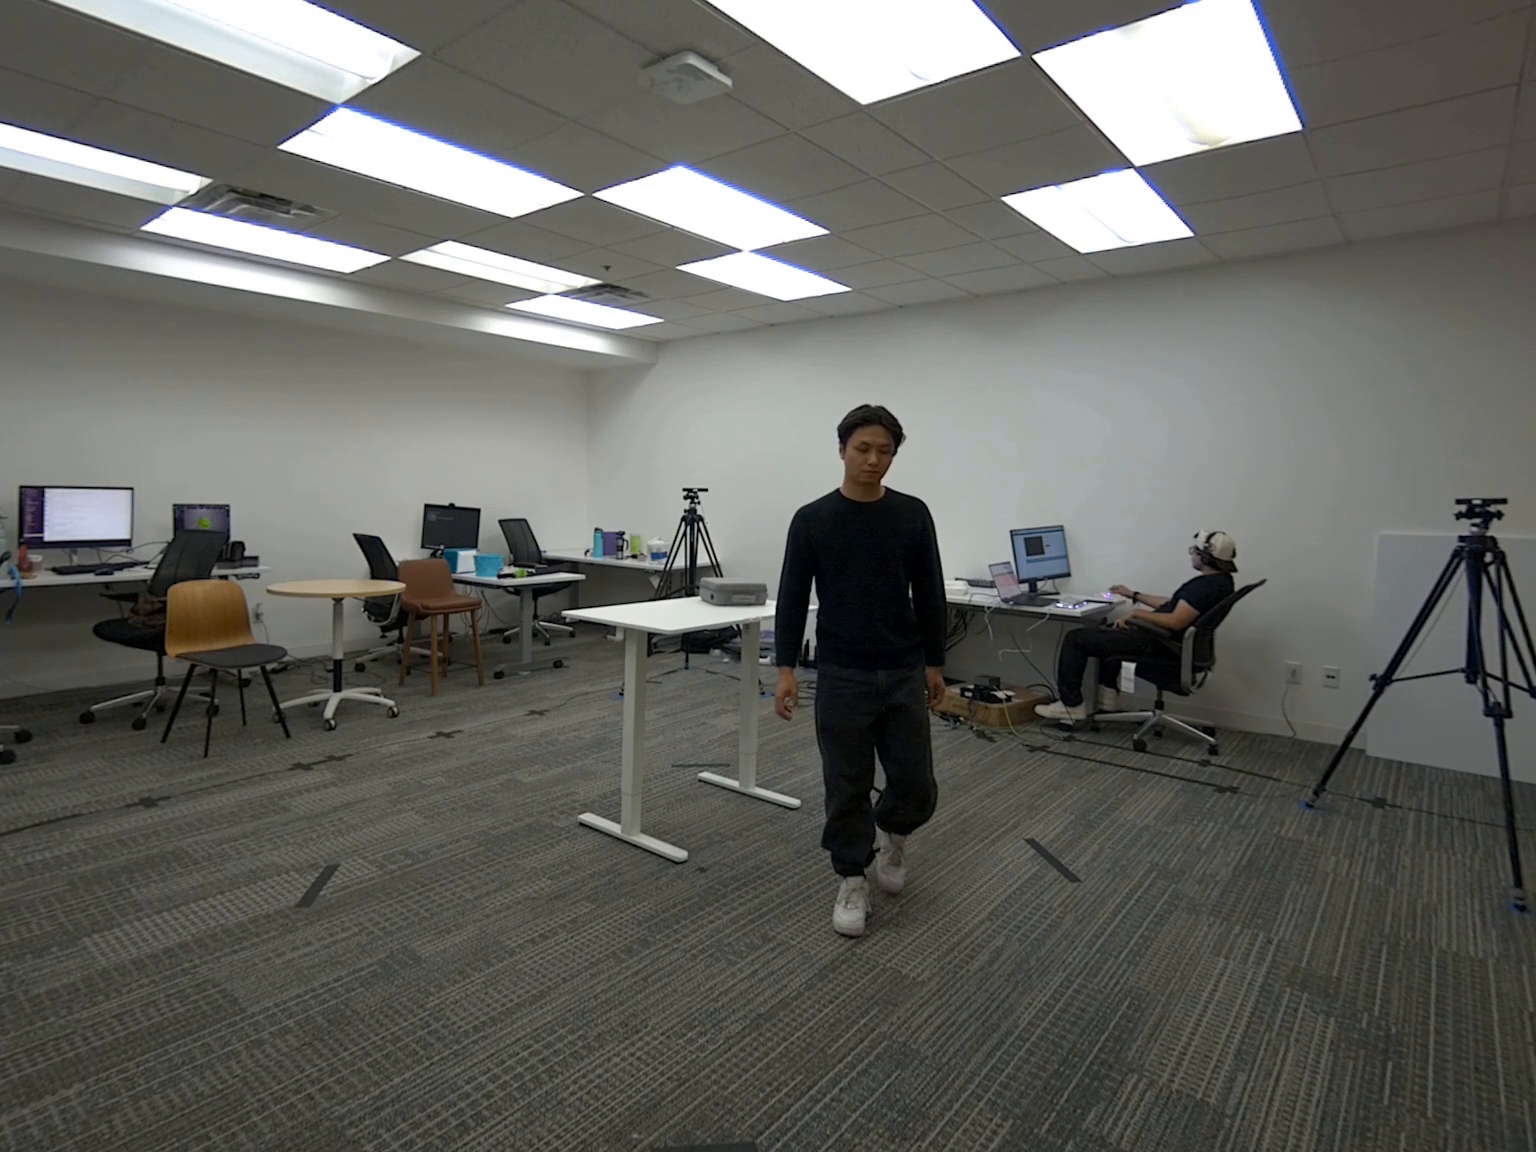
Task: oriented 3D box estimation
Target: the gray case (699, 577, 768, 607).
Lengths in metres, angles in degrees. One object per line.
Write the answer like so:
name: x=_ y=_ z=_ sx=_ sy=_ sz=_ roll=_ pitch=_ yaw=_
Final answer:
gray case: x=-0.167 y=0.063 z=3.853 sx=0.252 sy=0.104 sz=0.267 roll=0 pitch=5 yaw=-20
